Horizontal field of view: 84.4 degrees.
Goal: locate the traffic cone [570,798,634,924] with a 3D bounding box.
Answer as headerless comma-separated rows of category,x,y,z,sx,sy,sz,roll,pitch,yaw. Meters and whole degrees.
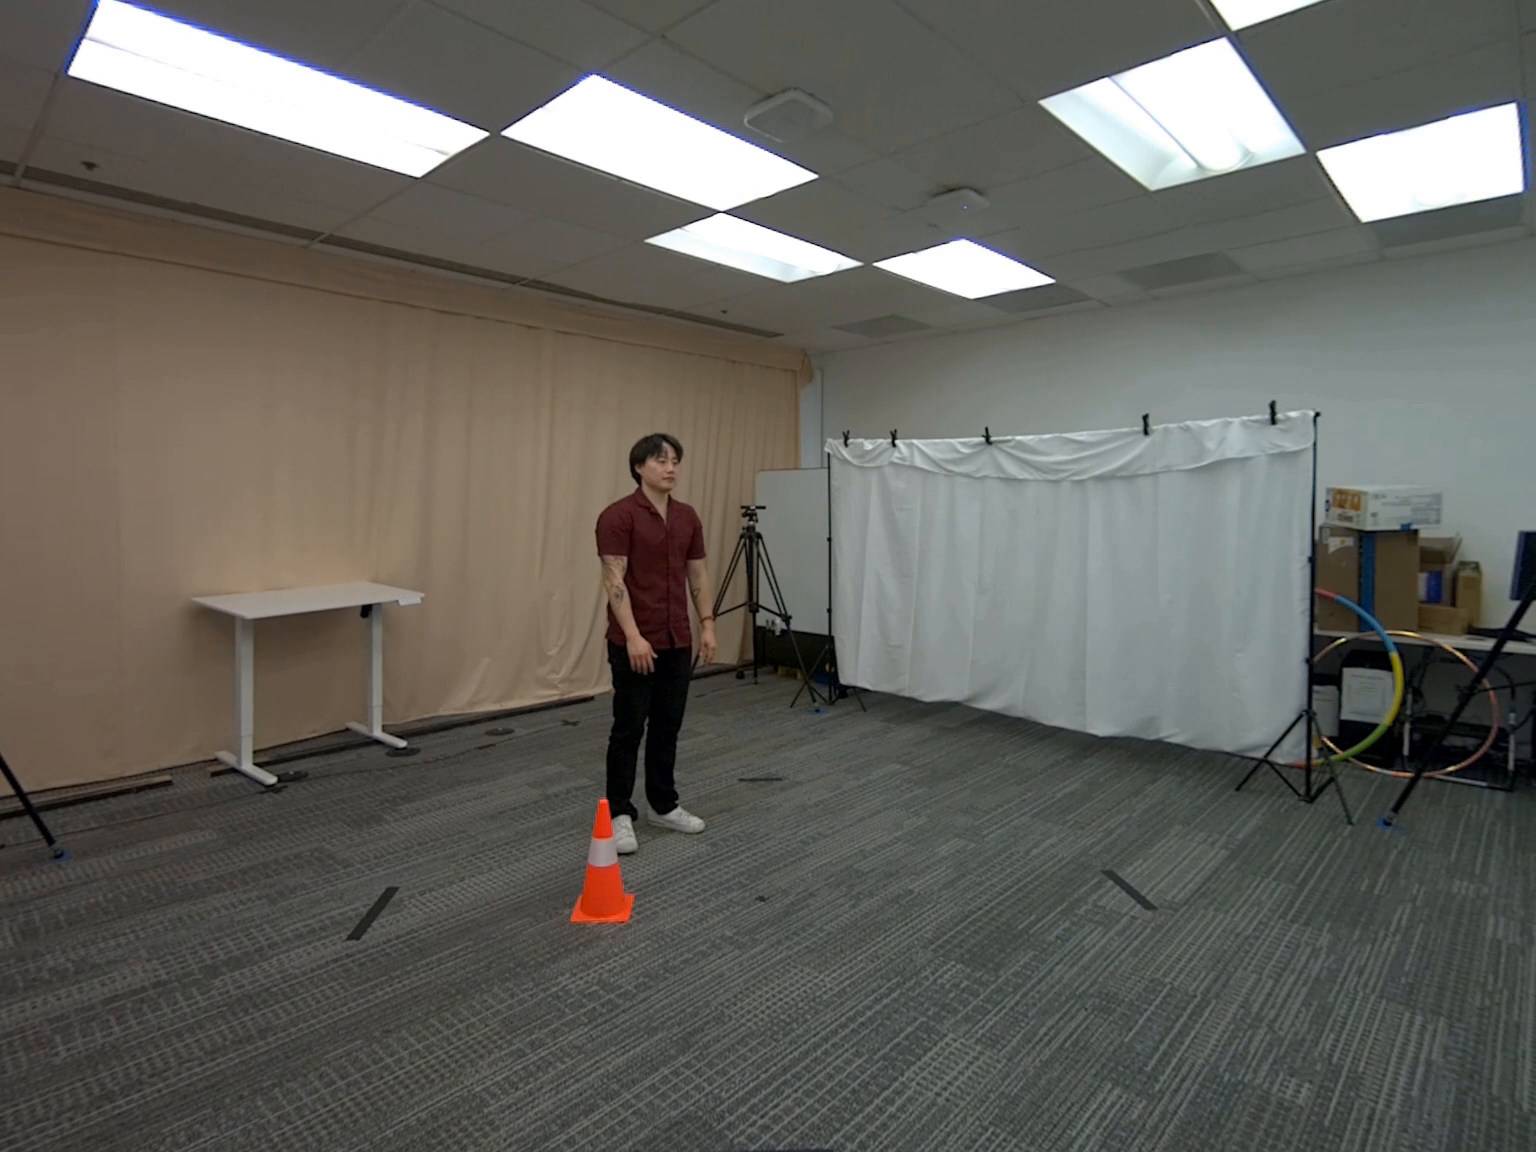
traffic cone,-0.581,0.964,2.918,0.205,0.383,0.203,-2,3,1
